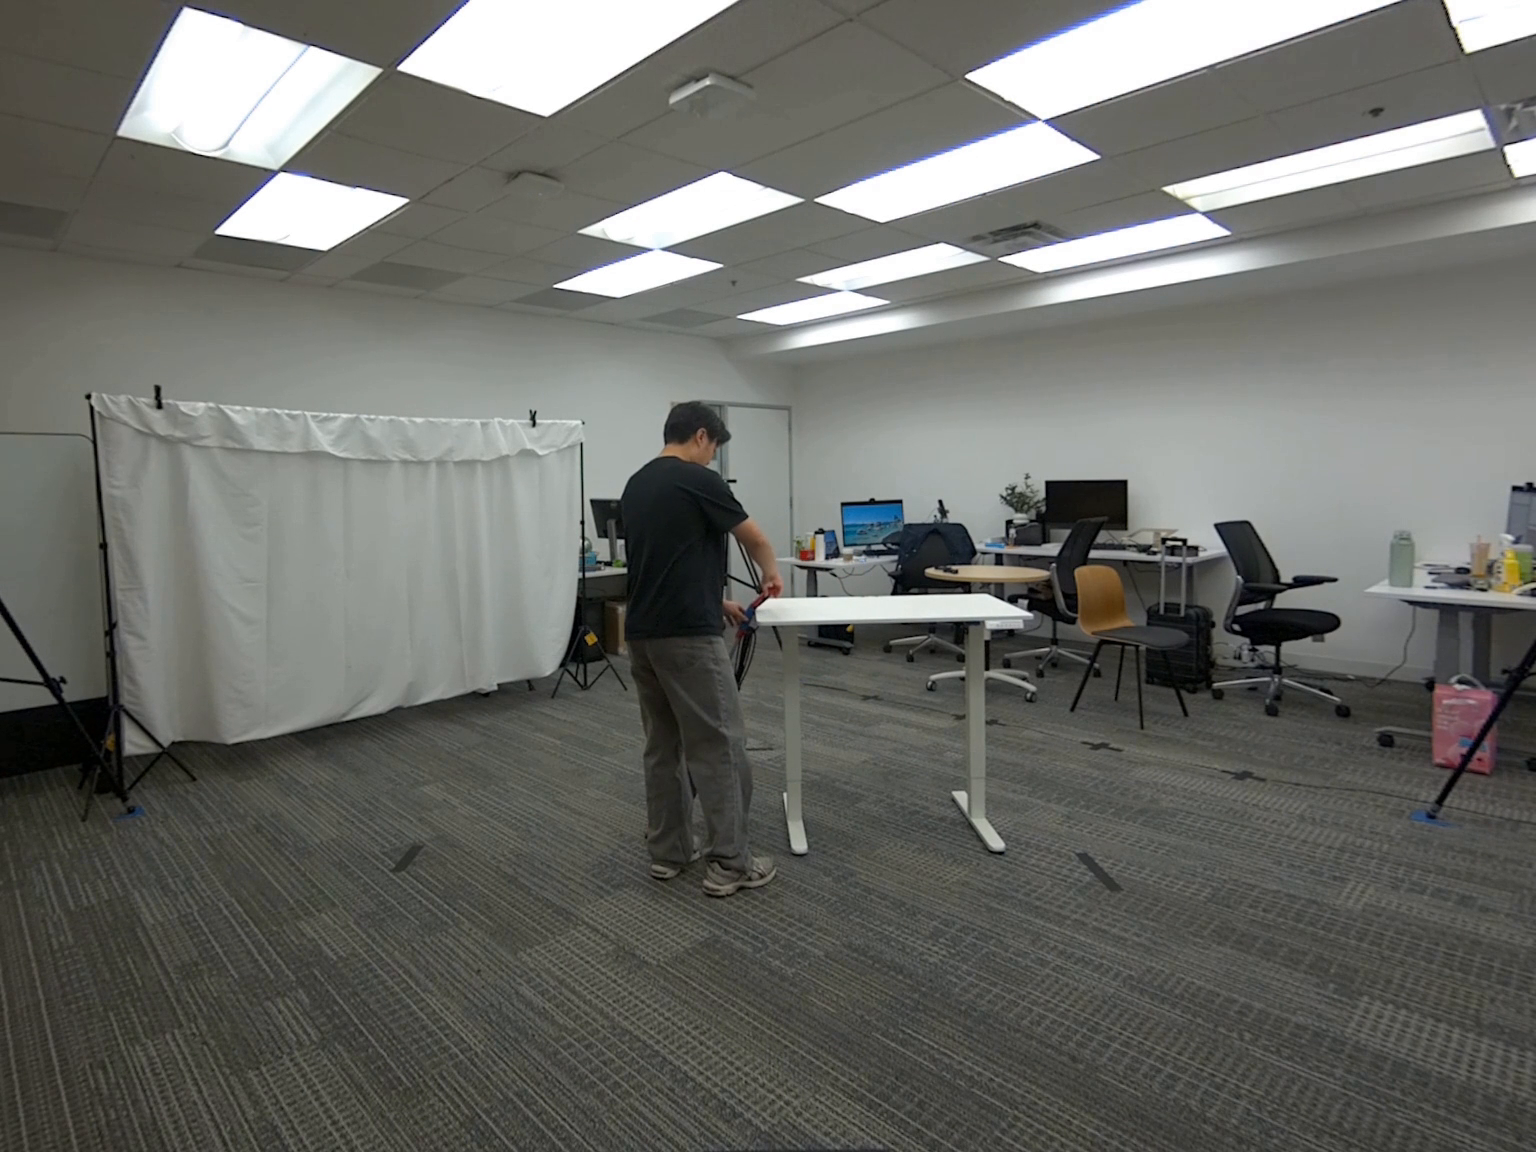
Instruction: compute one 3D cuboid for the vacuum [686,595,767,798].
[{"bbox_3d":[-0.193,0.533,3.405,0.144,1.046,0.254,23,6,-3],"label":"vacuum"}]
